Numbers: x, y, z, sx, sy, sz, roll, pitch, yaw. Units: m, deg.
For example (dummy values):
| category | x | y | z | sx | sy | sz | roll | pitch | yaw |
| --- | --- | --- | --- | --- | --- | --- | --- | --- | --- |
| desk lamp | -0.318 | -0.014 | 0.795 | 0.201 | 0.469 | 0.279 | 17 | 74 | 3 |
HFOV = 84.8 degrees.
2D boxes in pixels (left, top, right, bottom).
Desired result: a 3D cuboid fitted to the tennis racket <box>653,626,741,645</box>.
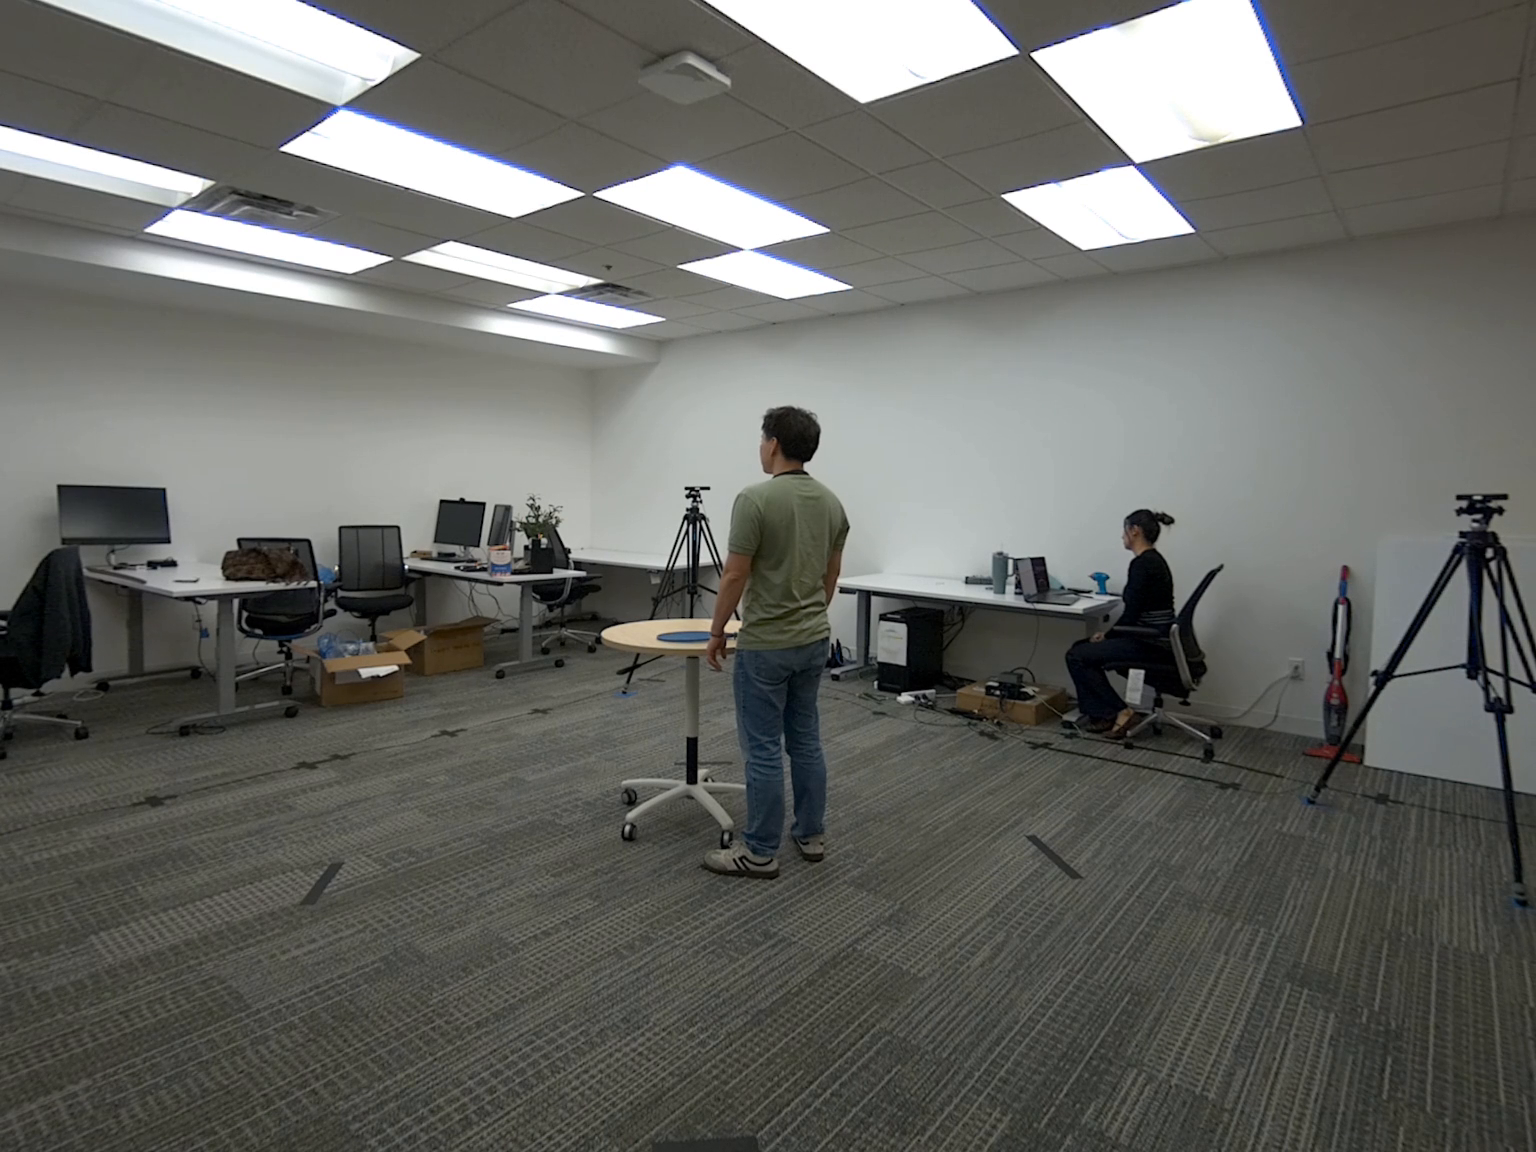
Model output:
| category | x | y | z | sx | sy | sz | roll | pitch | yaw |
| --- | --- | --- | --- | --- | --- | --- | --- | --- | --- |
| tennis racket | -0.236 | 0.240 | 3.407 | 0.435 | 0.031 | 0.213 | -1 | 5 | 4 |
